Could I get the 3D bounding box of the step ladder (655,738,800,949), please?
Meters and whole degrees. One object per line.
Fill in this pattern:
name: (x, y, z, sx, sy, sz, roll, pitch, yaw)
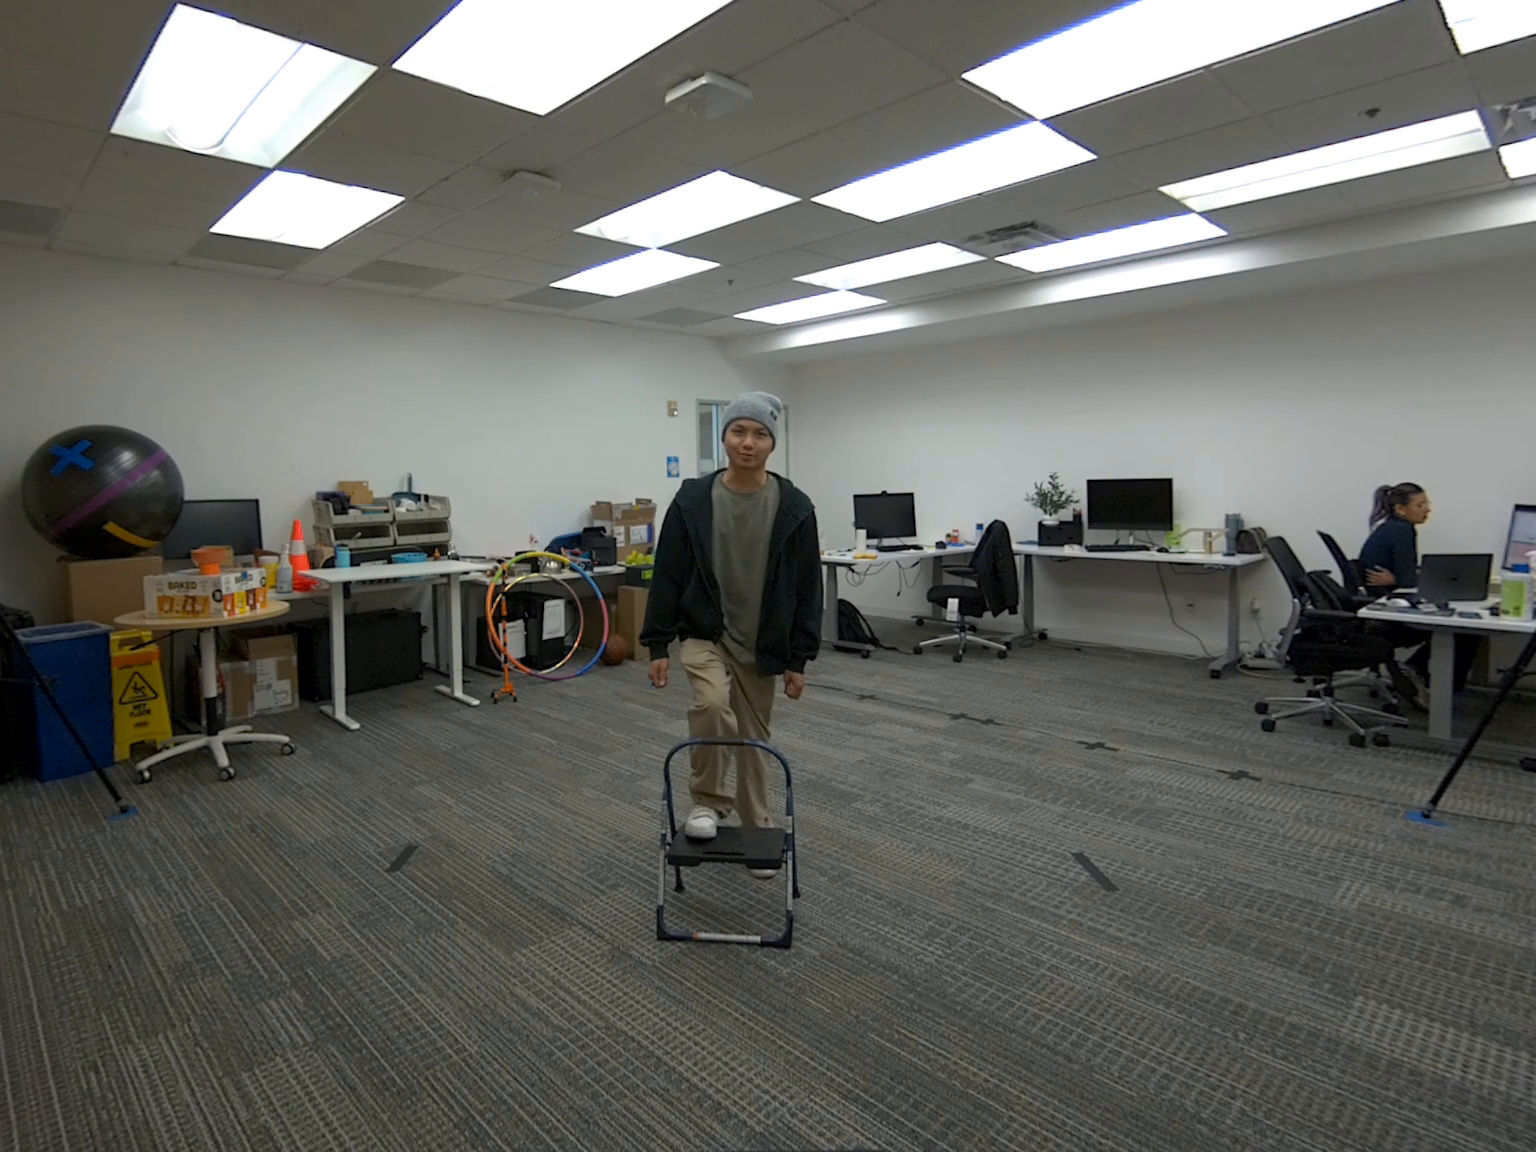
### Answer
step ladder: (-0.120, 0.795, 2.716, 0.434, 0.604, 0.348, -1, 4, 6)
